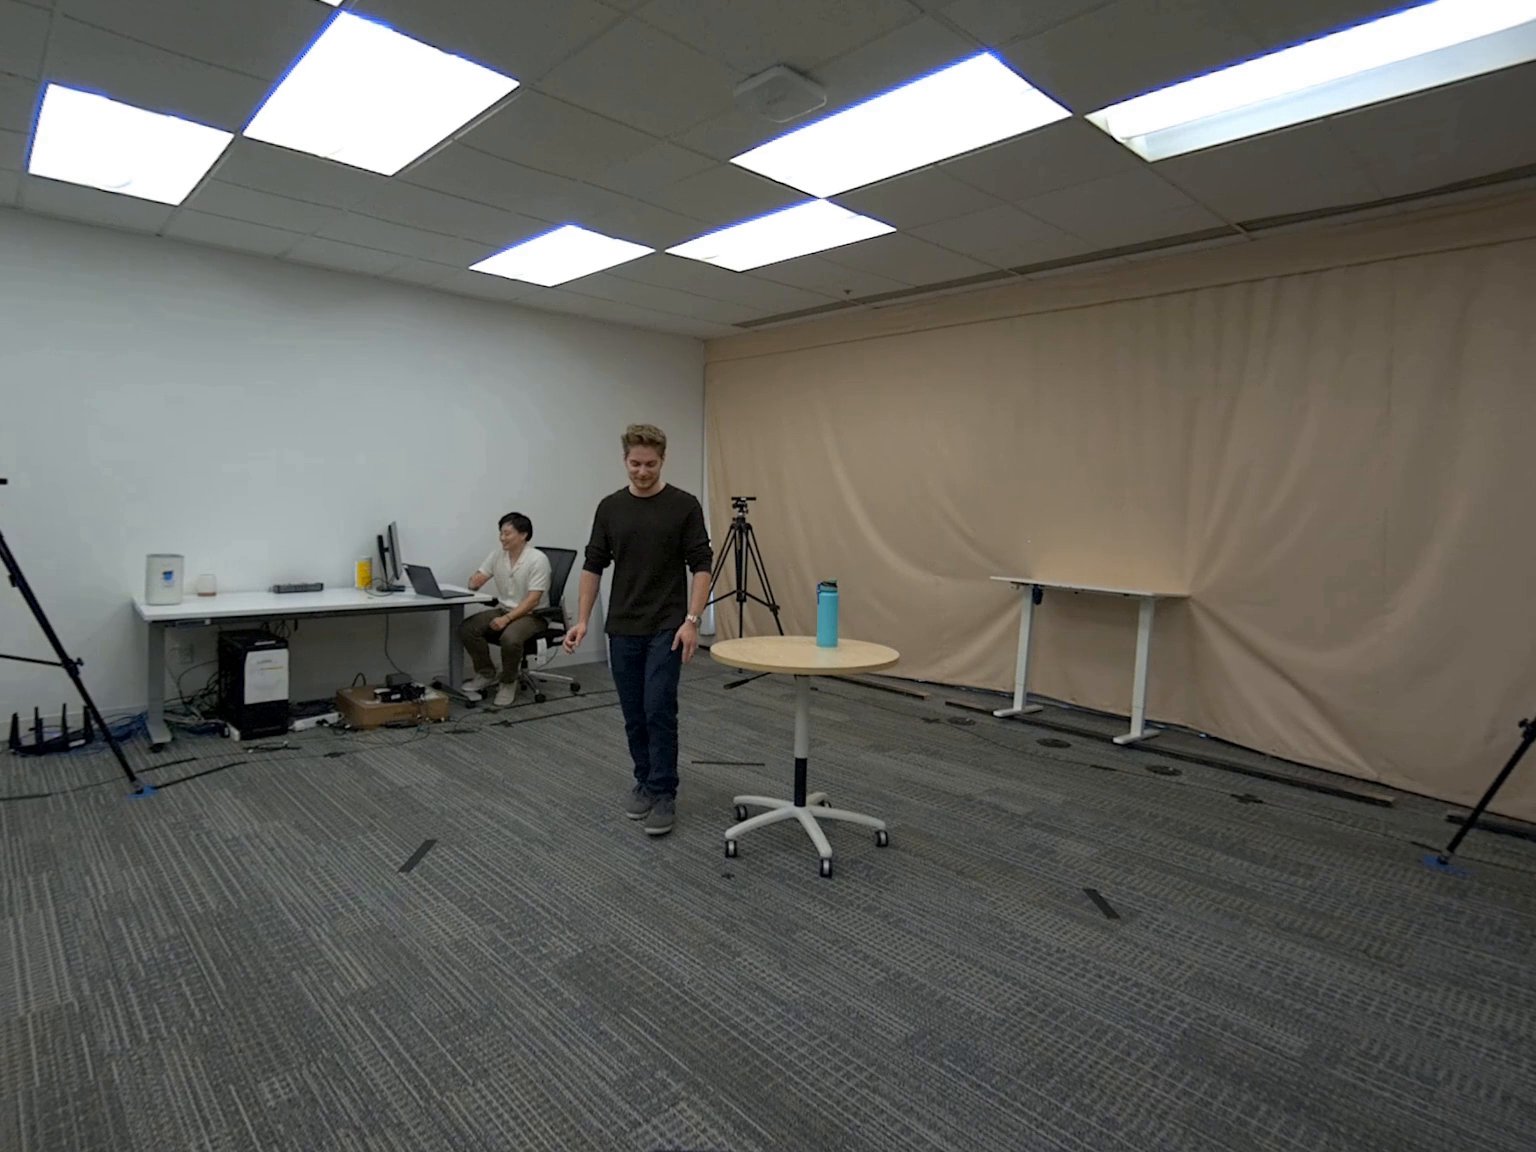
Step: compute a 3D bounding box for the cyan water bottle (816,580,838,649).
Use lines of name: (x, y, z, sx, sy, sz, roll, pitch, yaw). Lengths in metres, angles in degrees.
cyan water bottle: (0.247, 0.152, 3.557, 0.092, 0.282, 0.092, -1, 4, -1)
